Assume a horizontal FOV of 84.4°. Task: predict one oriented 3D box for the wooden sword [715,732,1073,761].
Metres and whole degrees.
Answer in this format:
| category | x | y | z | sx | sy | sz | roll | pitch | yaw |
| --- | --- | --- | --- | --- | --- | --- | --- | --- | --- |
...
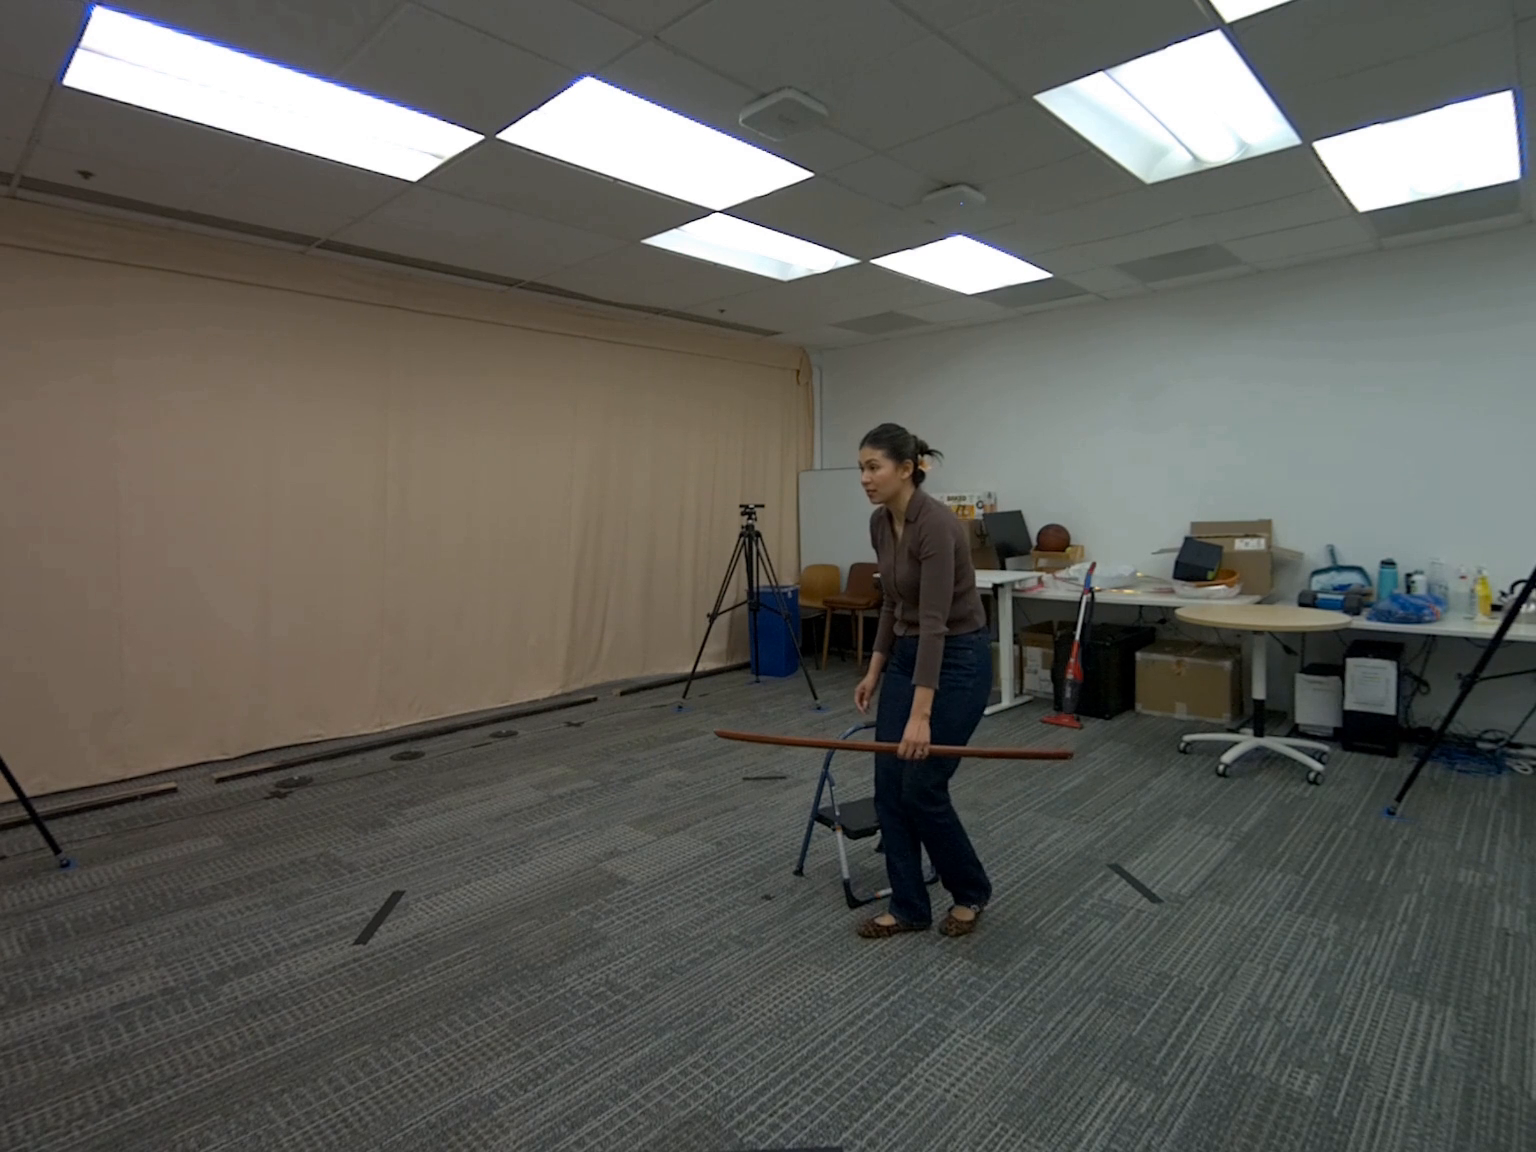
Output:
| category | x | y | z | sx | sy | sz | roll | pitch | yaw |
| --- | --- | --- | --- | --- | --- | --- | --- | --- | --- |
| wooden sword | 0.381 | 0.505 | 2.335 | 1.019 | 0.051 | 0.024 | 4 | 16 | -5 |
